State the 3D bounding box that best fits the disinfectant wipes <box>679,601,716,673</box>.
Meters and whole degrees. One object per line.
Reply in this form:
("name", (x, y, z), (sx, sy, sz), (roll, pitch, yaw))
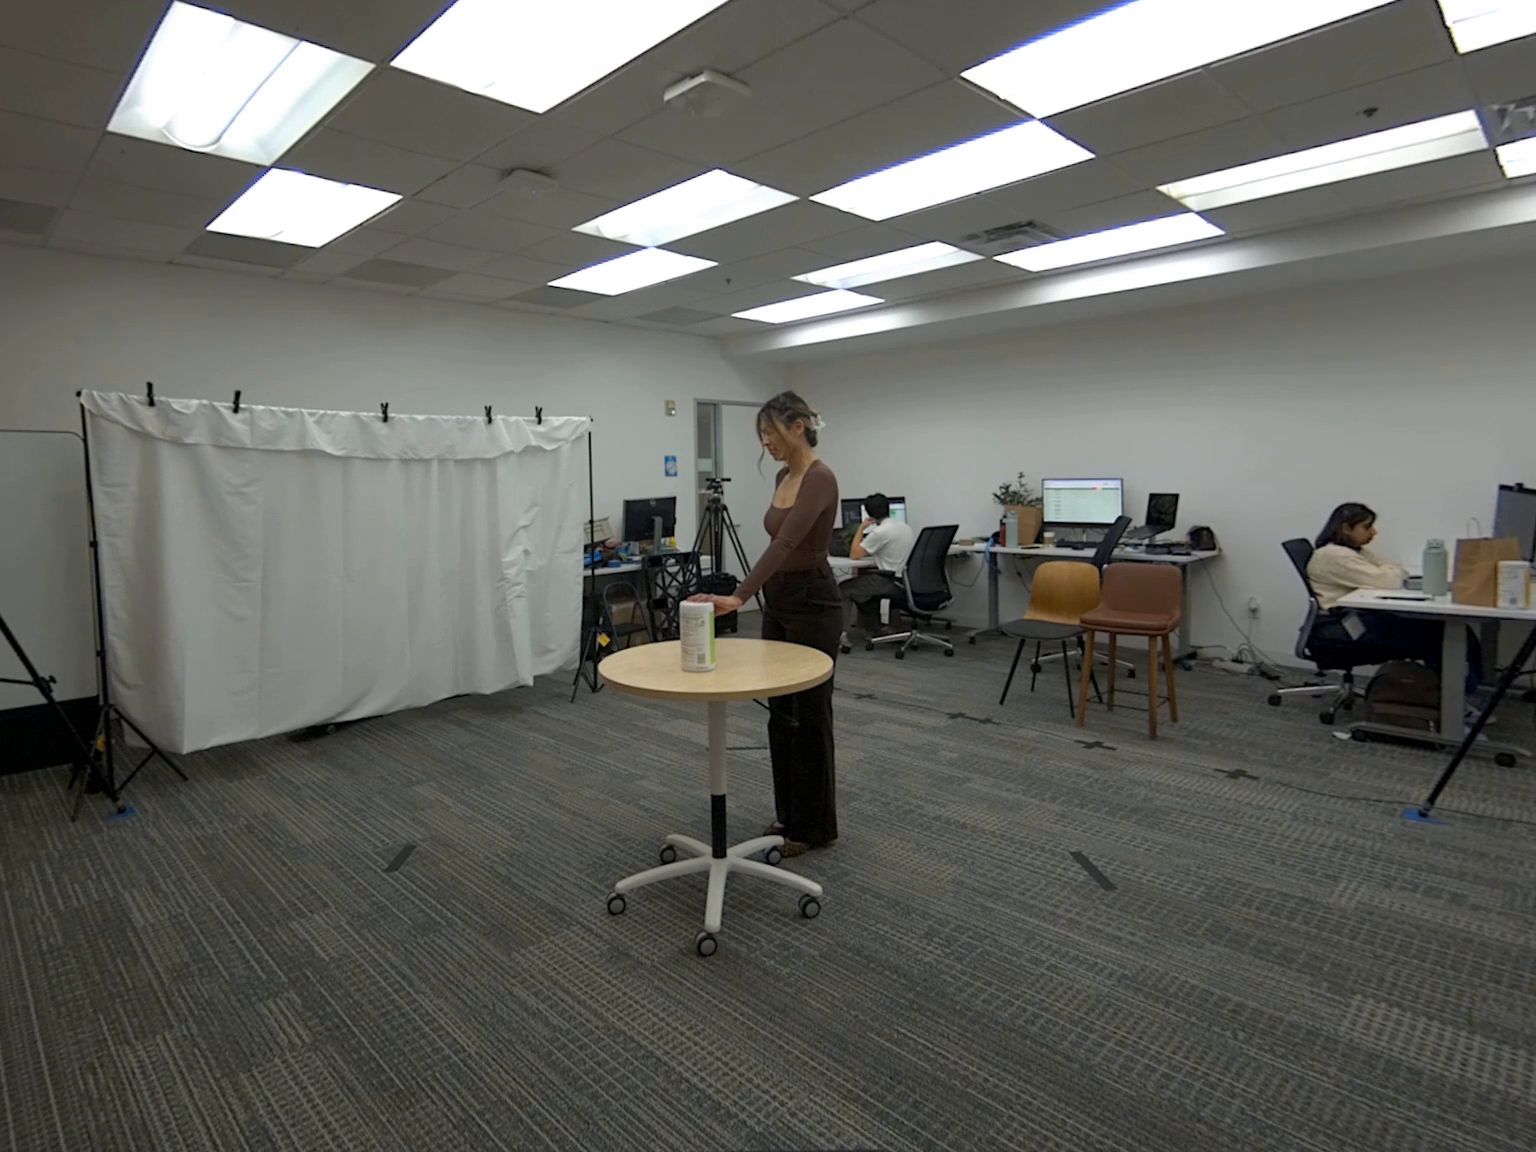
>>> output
("disinfectant wipes", (-0.218, 0.190, 2.702), (0.118, 0.217, 0.118), (0, 3, -2))
